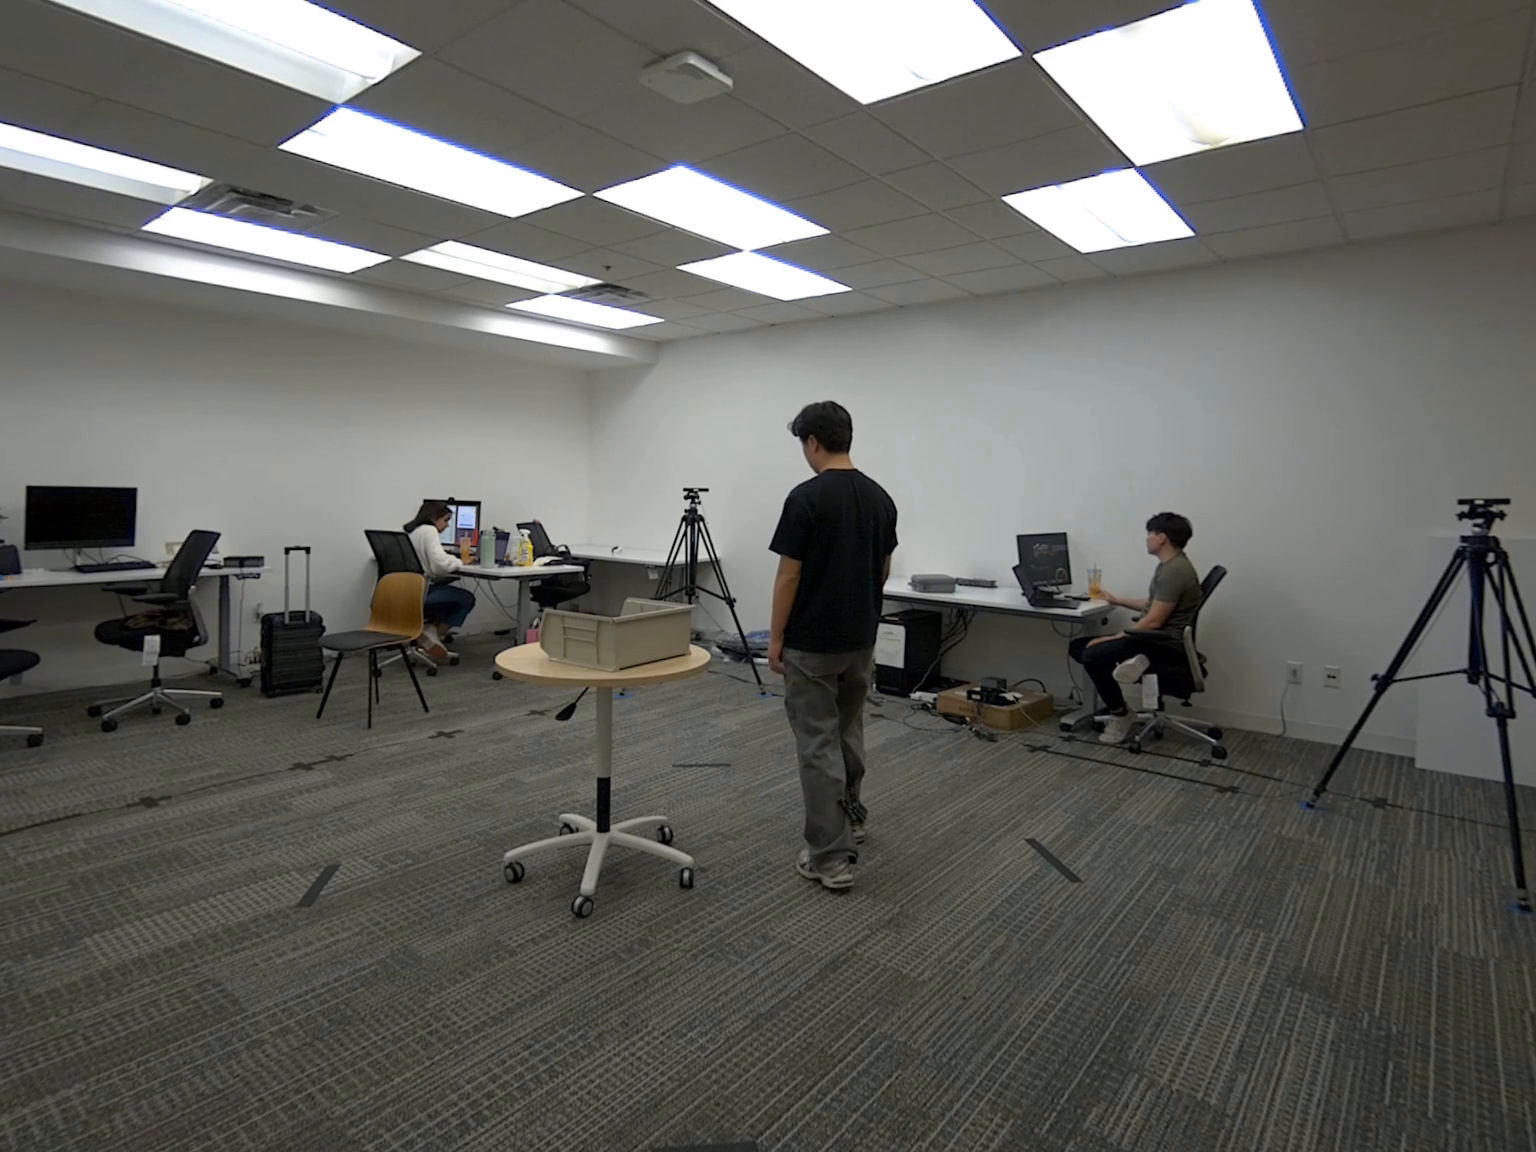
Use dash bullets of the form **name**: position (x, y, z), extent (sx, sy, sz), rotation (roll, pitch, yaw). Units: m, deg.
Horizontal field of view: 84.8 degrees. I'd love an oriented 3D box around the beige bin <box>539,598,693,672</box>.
- **beige bin**: position (-0.553, 0.199, 3.042), extent (0.390, 0.188, 0.410), rotation (6, 7, 34)
